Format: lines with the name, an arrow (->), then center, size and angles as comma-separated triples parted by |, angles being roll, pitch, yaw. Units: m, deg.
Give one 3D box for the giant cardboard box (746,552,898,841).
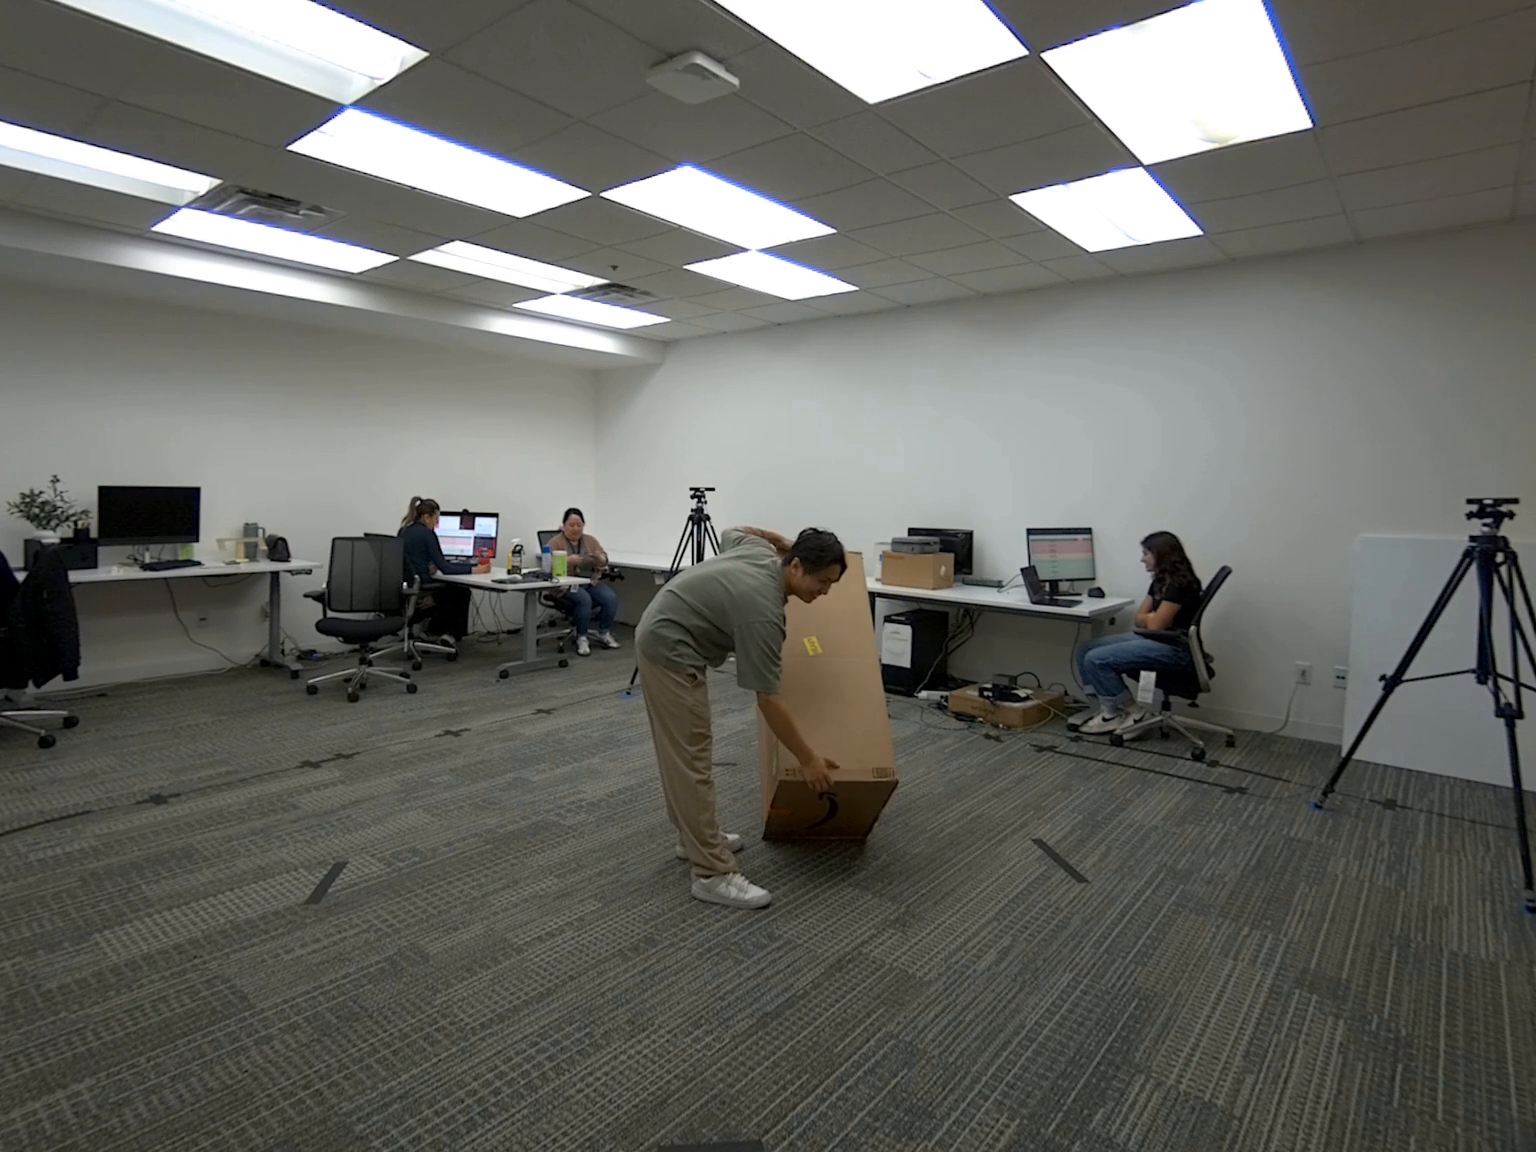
giant cardboard box -> 0.186, 0.471, 3.499 | 0.423, 1.057, 0.564 | 1, -38, -7
